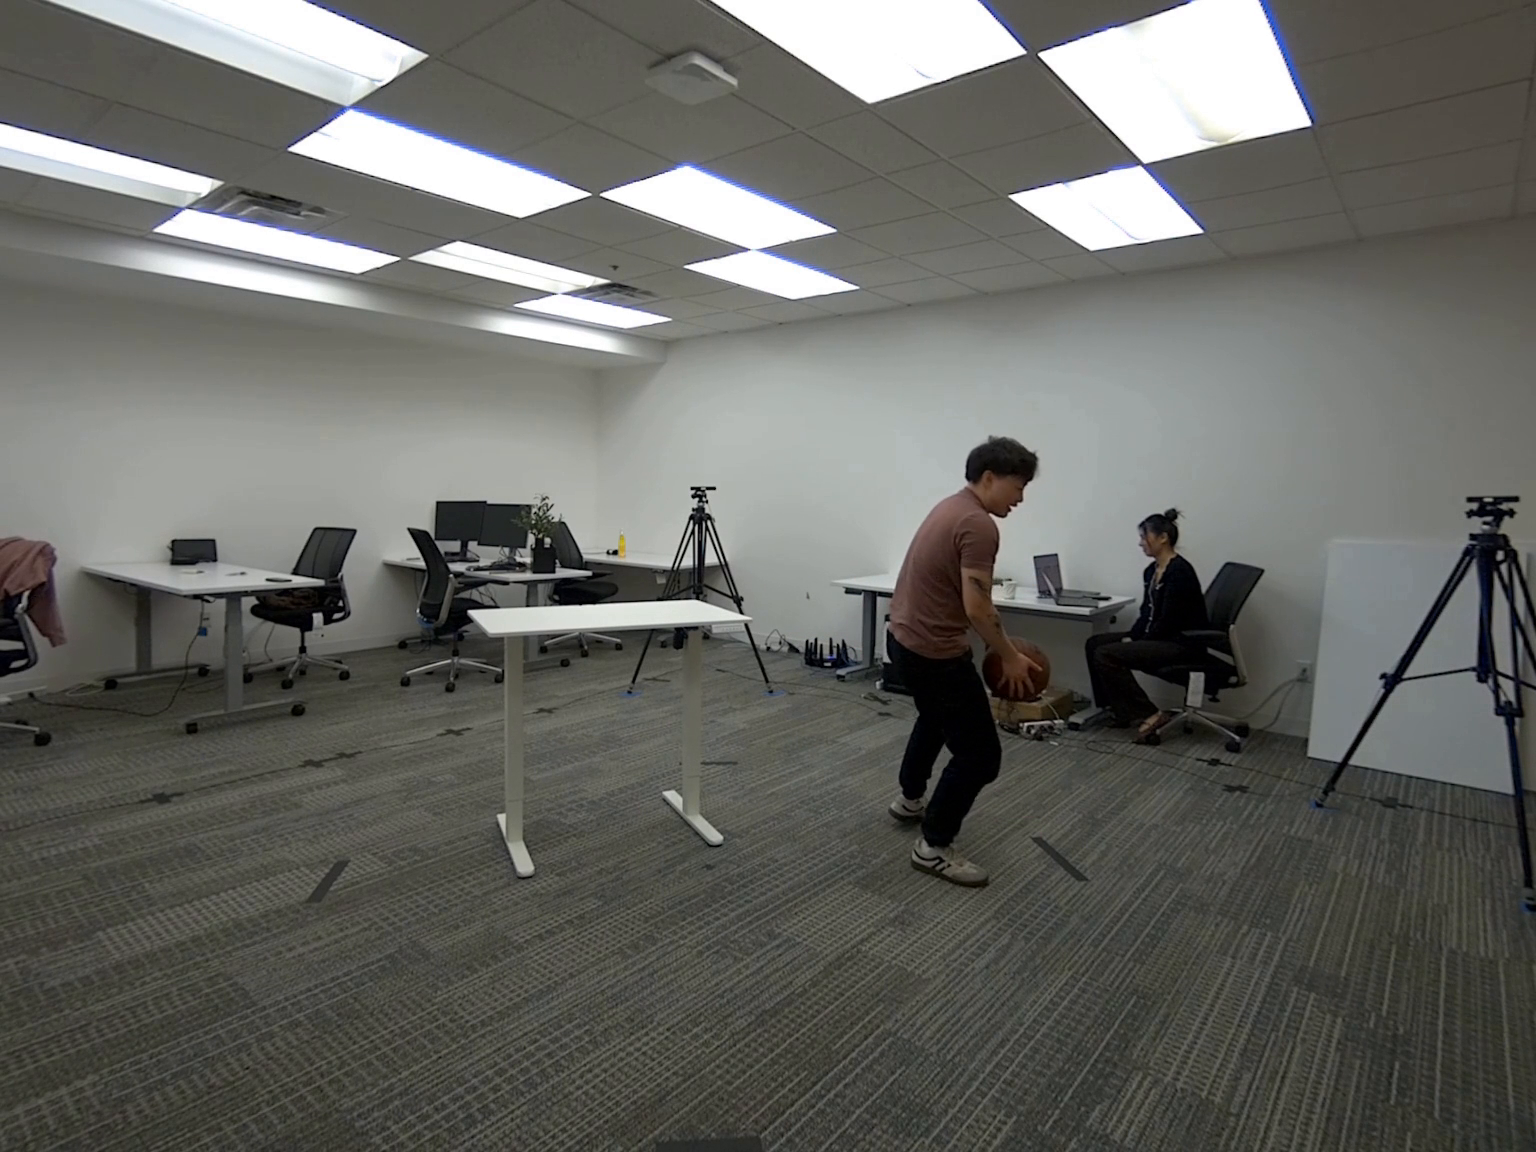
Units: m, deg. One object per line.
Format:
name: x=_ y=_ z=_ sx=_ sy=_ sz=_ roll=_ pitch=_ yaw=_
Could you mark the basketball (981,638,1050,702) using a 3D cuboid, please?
basketball: x=0.900 y=0.346 z=3.109 sx=0.235 sy=0.235 sz=0.237 roll=1 pitch=4 yaw=-2
